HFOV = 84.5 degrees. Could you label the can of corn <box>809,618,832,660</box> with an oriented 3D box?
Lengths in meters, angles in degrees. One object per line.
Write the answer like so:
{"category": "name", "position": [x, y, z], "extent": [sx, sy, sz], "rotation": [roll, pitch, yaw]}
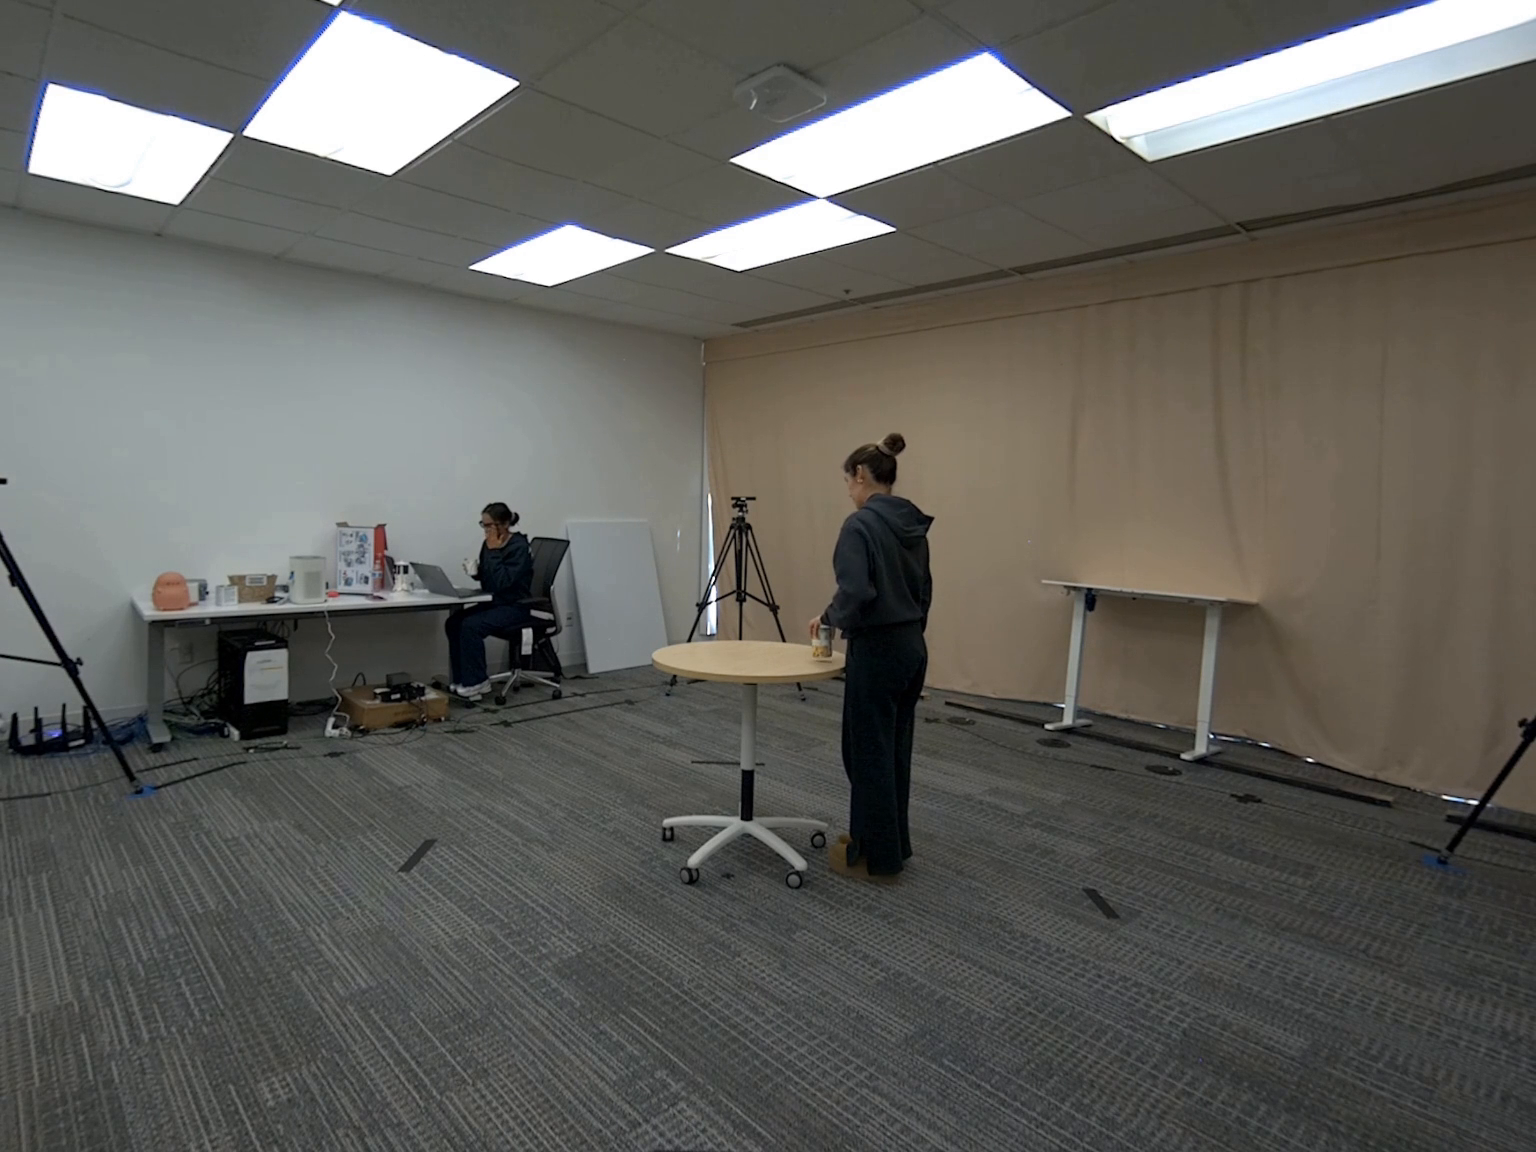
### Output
{"category": "can of corn", "position": [0.204, 0.249, 3.193], "extent": [0.074, 0.110, 0.075], "rotation": [0, 8, -1]}
